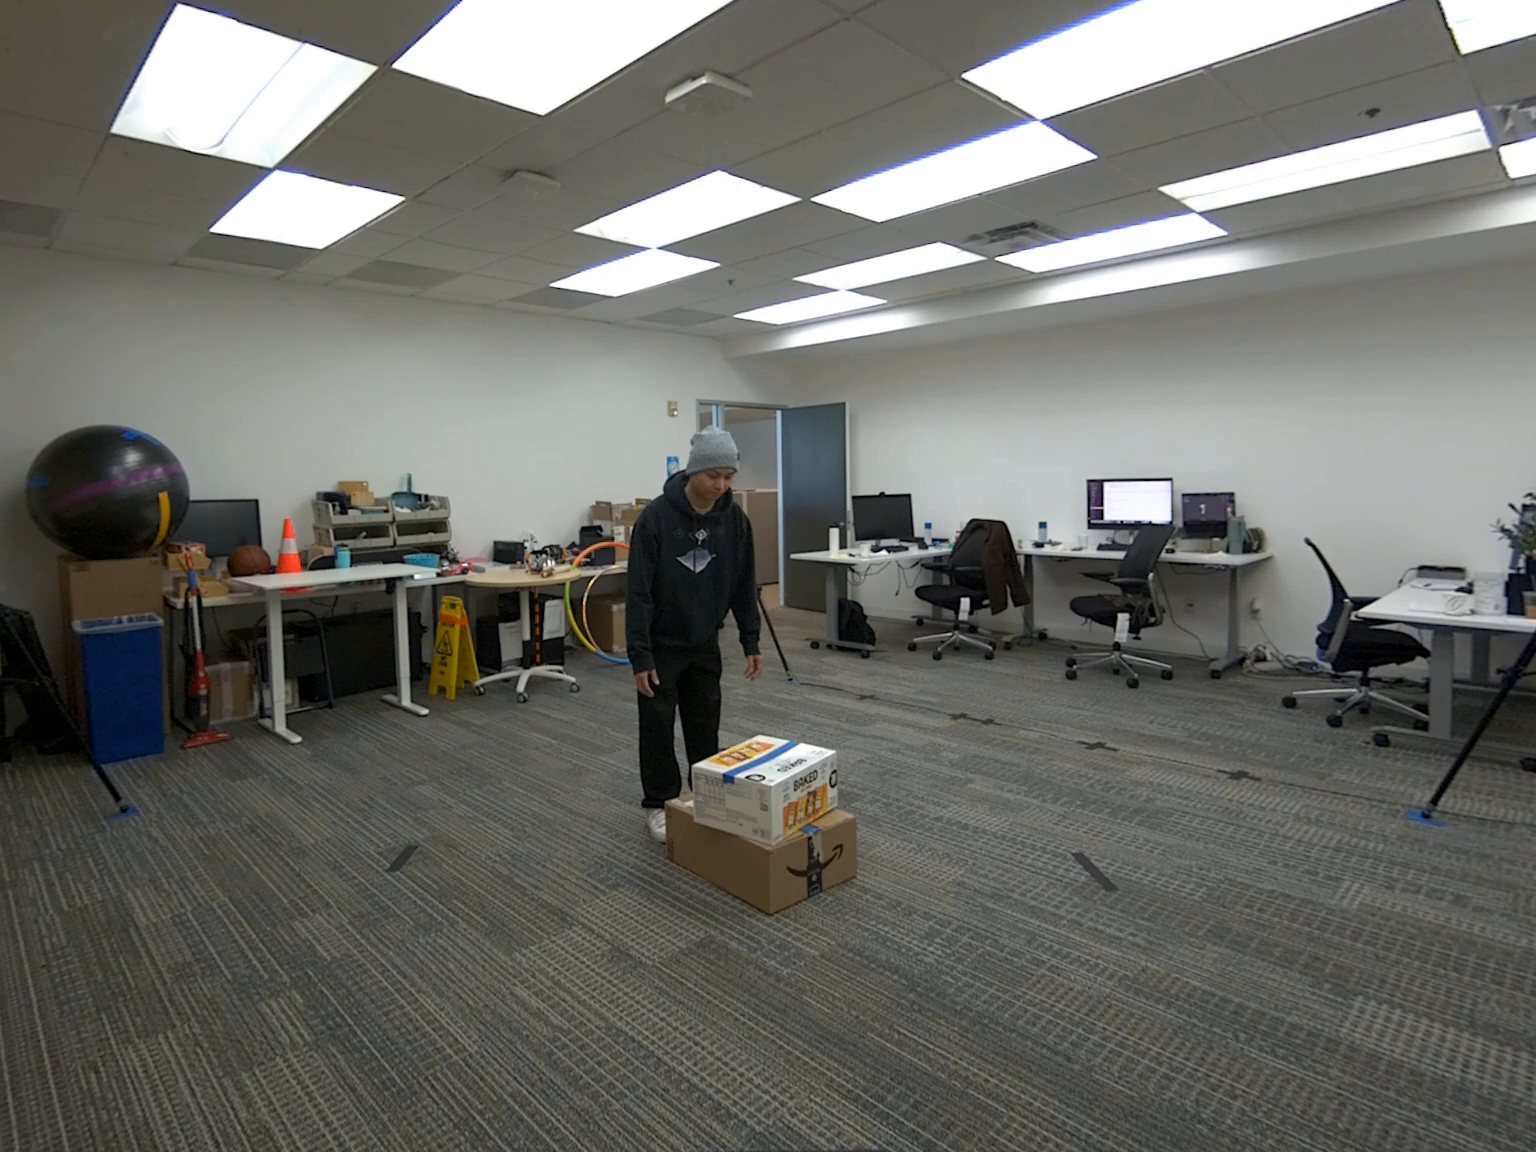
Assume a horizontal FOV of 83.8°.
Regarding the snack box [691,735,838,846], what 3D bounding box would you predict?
[{"bbox_3d":[-0.005,0.737,2.993,0.350,0.205,0.395,3,8,37],"label":"snack box"}]
